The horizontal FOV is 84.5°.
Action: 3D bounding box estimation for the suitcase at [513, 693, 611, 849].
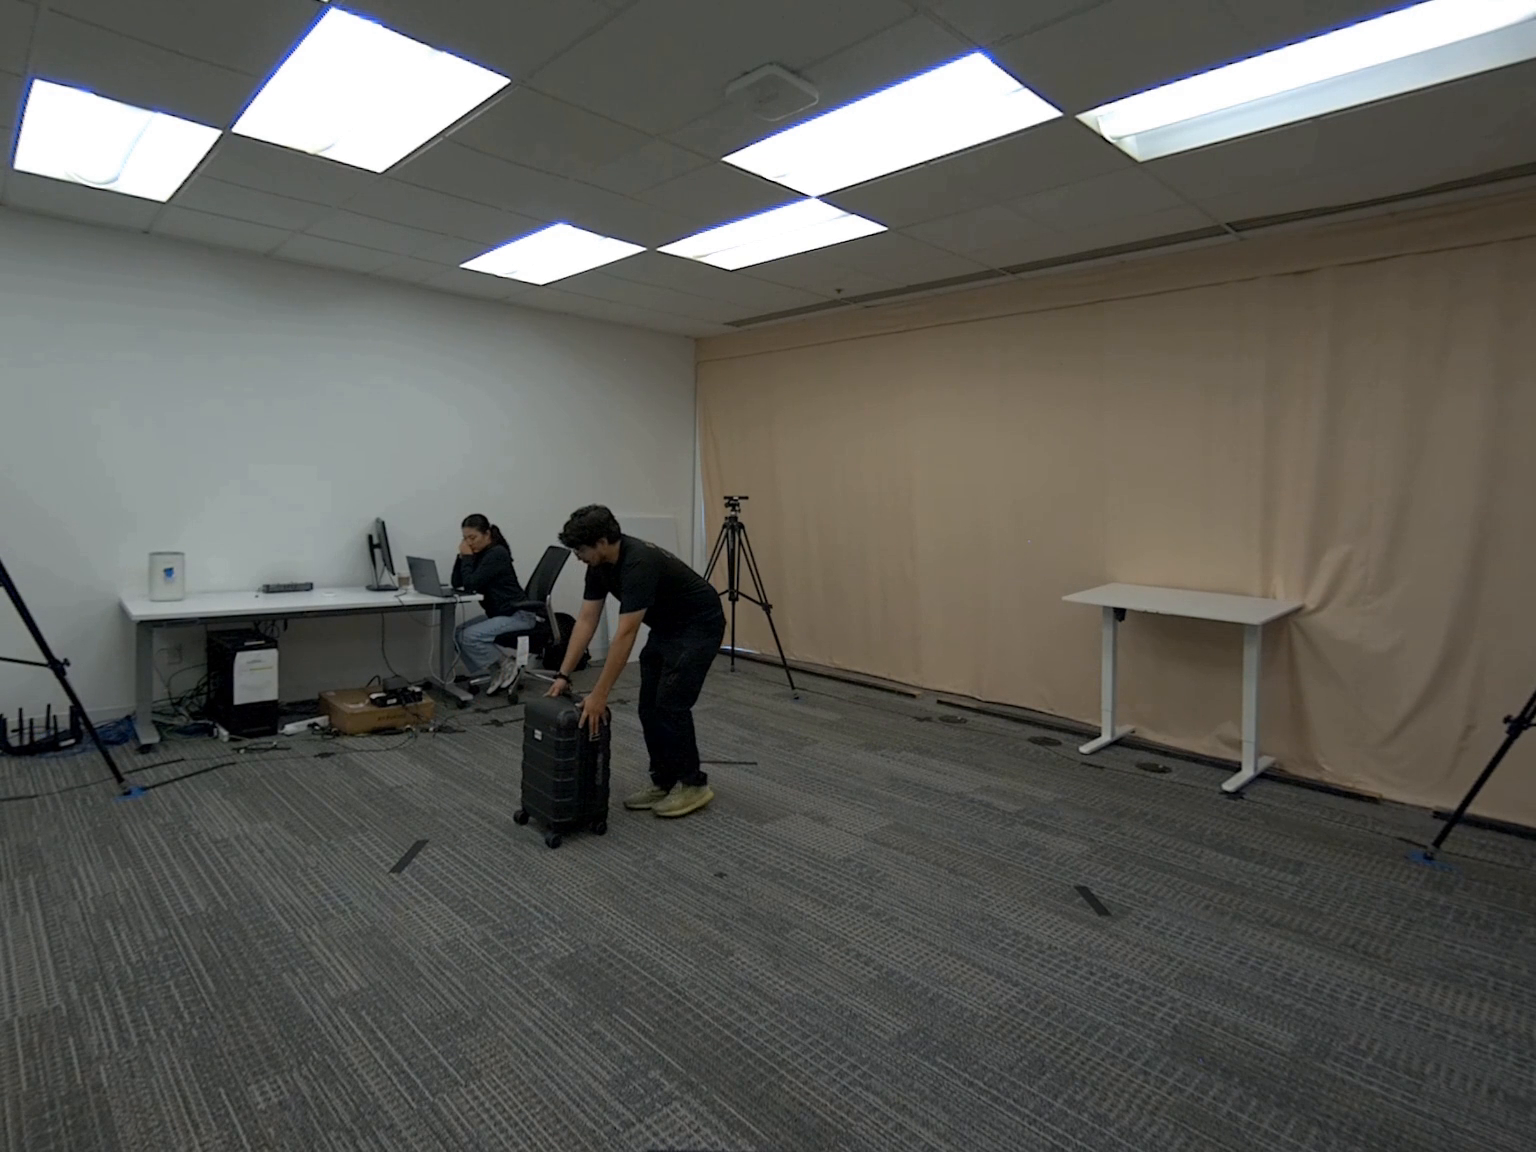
[{"bbox_3d":[-0.851,0.778,3.500,0.242,0.549,0.385,1,2,-41],"label":"suitcase"}]
